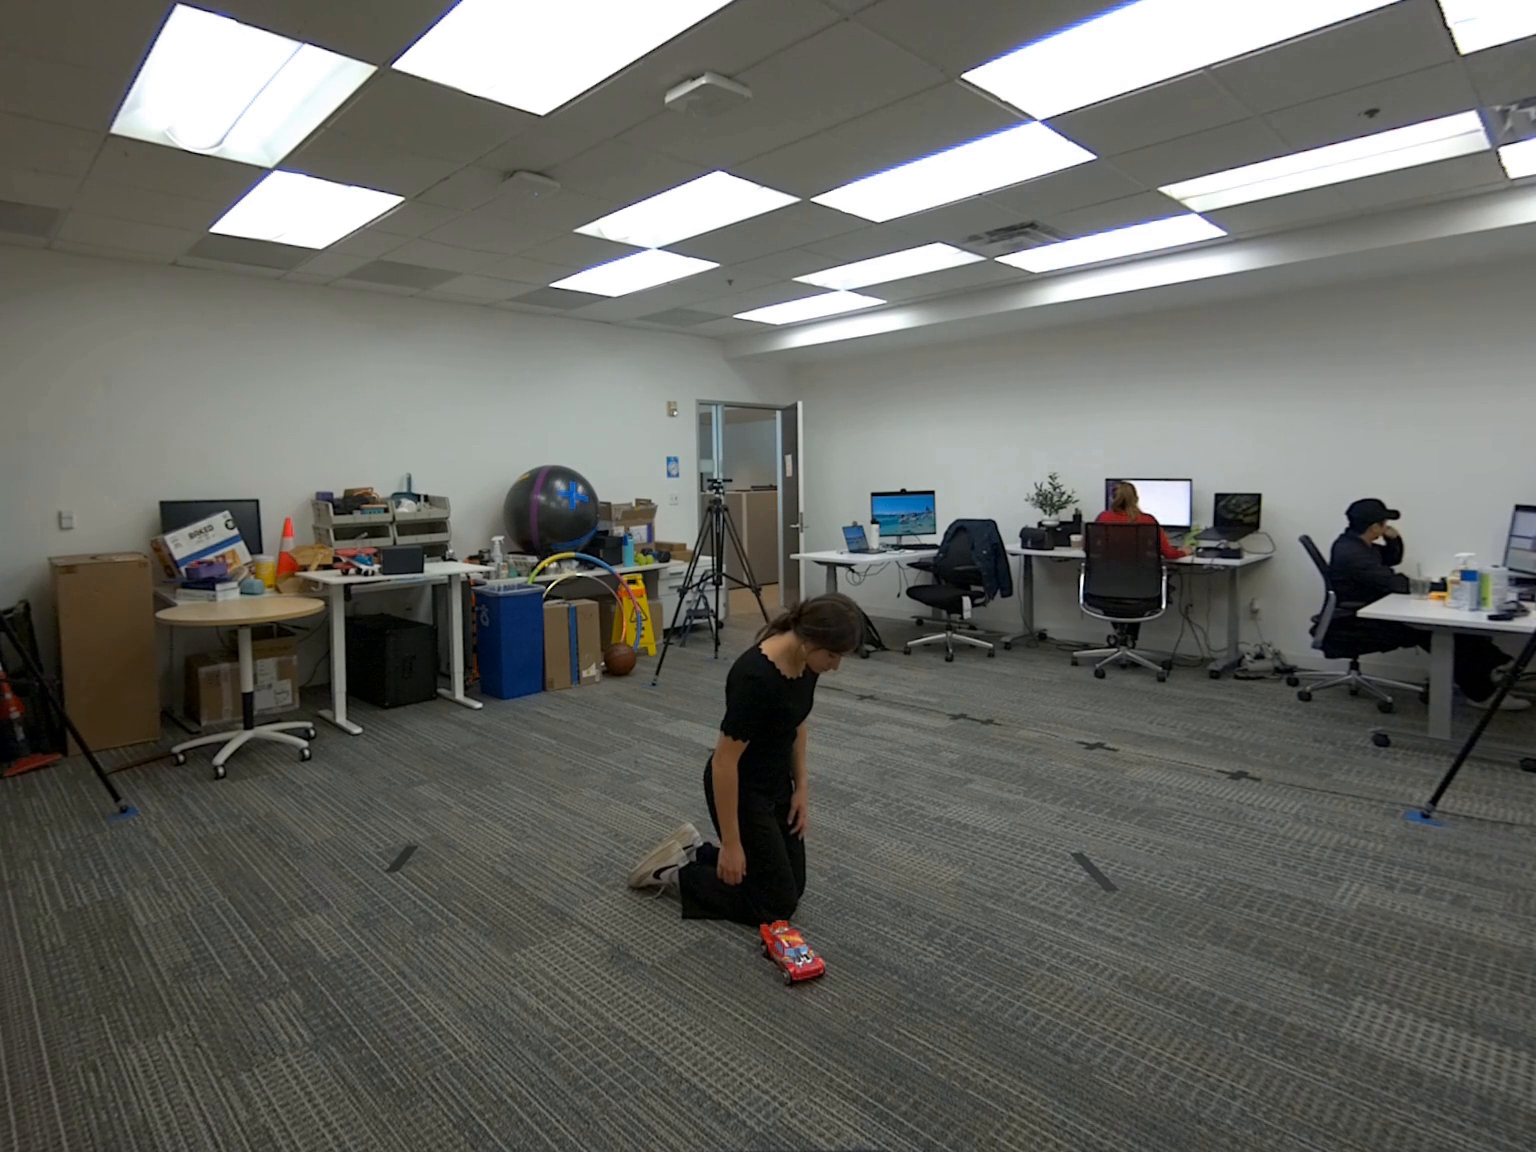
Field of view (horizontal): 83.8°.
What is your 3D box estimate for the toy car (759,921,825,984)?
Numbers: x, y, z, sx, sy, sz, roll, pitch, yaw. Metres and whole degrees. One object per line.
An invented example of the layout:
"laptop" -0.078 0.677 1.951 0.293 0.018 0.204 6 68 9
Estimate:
"toy car" 0.057 1.091 2.468 0.128 0.082 0.263 -5 18 -23
